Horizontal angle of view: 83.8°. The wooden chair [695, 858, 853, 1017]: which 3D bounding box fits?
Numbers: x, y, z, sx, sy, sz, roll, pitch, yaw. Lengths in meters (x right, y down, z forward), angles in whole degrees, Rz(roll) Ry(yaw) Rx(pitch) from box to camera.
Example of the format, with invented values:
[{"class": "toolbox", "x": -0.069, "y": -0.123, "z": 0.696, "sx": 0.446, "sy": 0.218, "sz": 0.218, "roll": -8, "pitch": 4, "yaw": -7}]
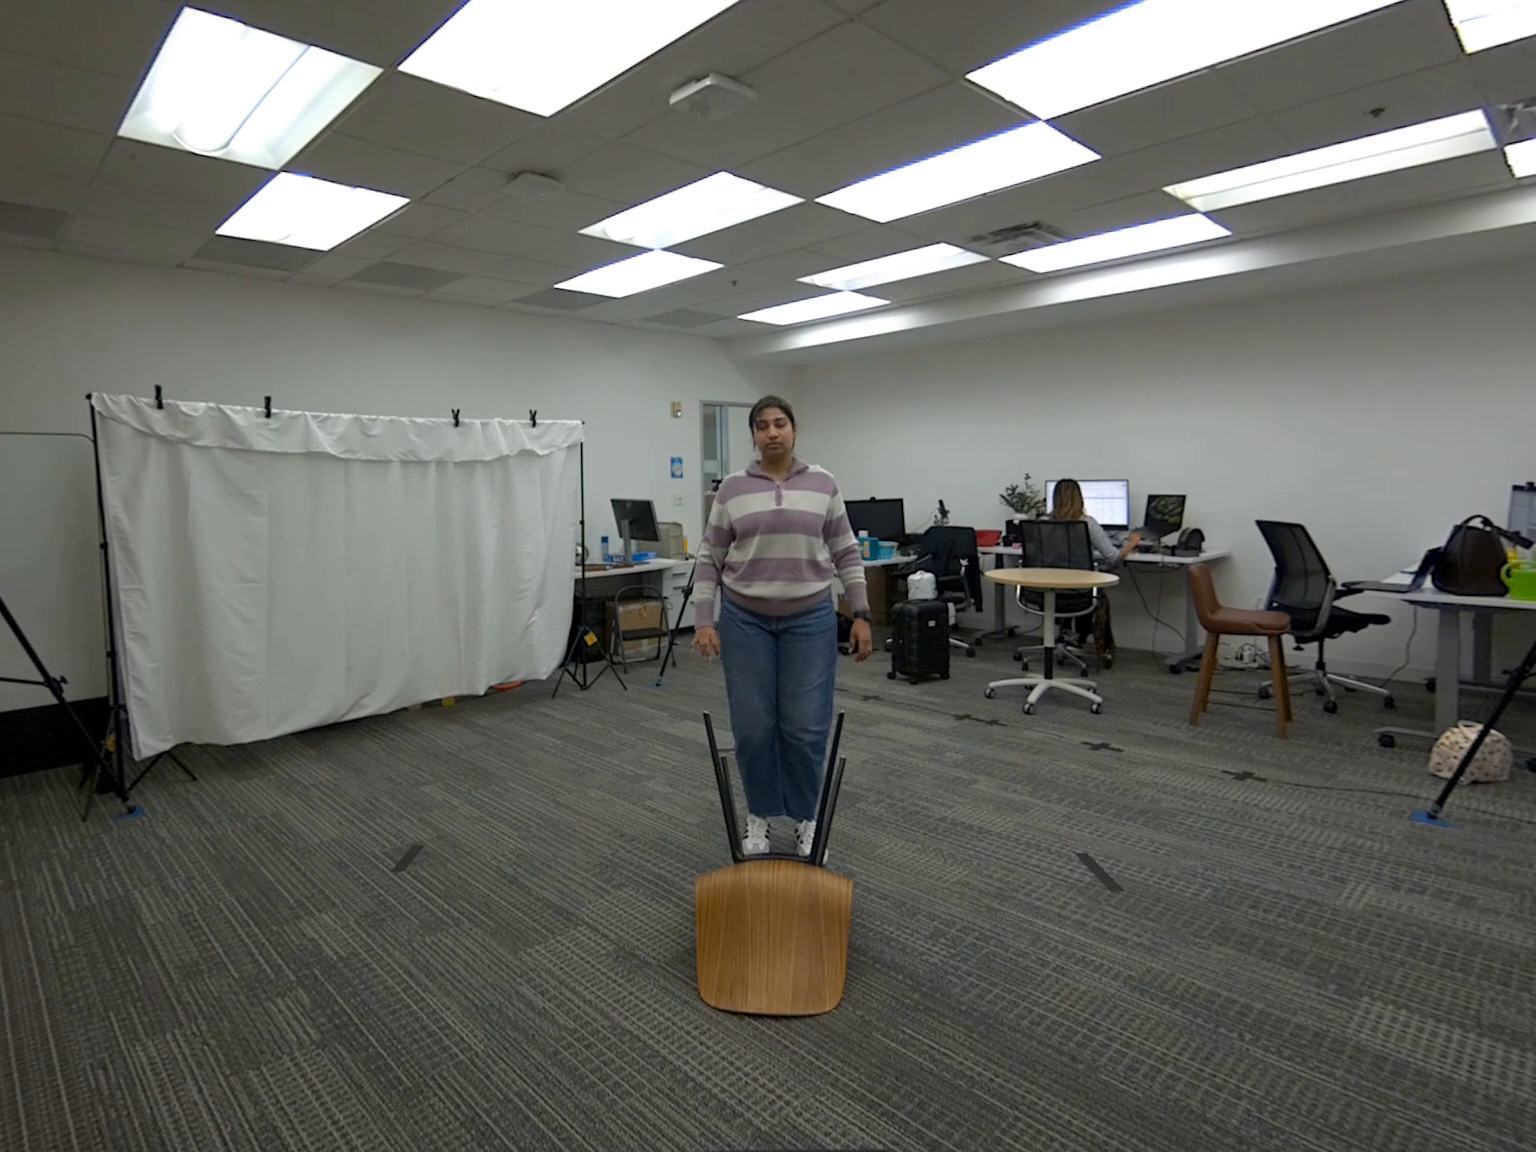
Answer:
[{"class": "wooden chair", "x": 0.030, "y": 0.927, "z": 2.678, "sx": 0.481, "sy": 0.899, "sz": 0.507, "roll": -2, "pitch": -36, "yaw": 6}]
